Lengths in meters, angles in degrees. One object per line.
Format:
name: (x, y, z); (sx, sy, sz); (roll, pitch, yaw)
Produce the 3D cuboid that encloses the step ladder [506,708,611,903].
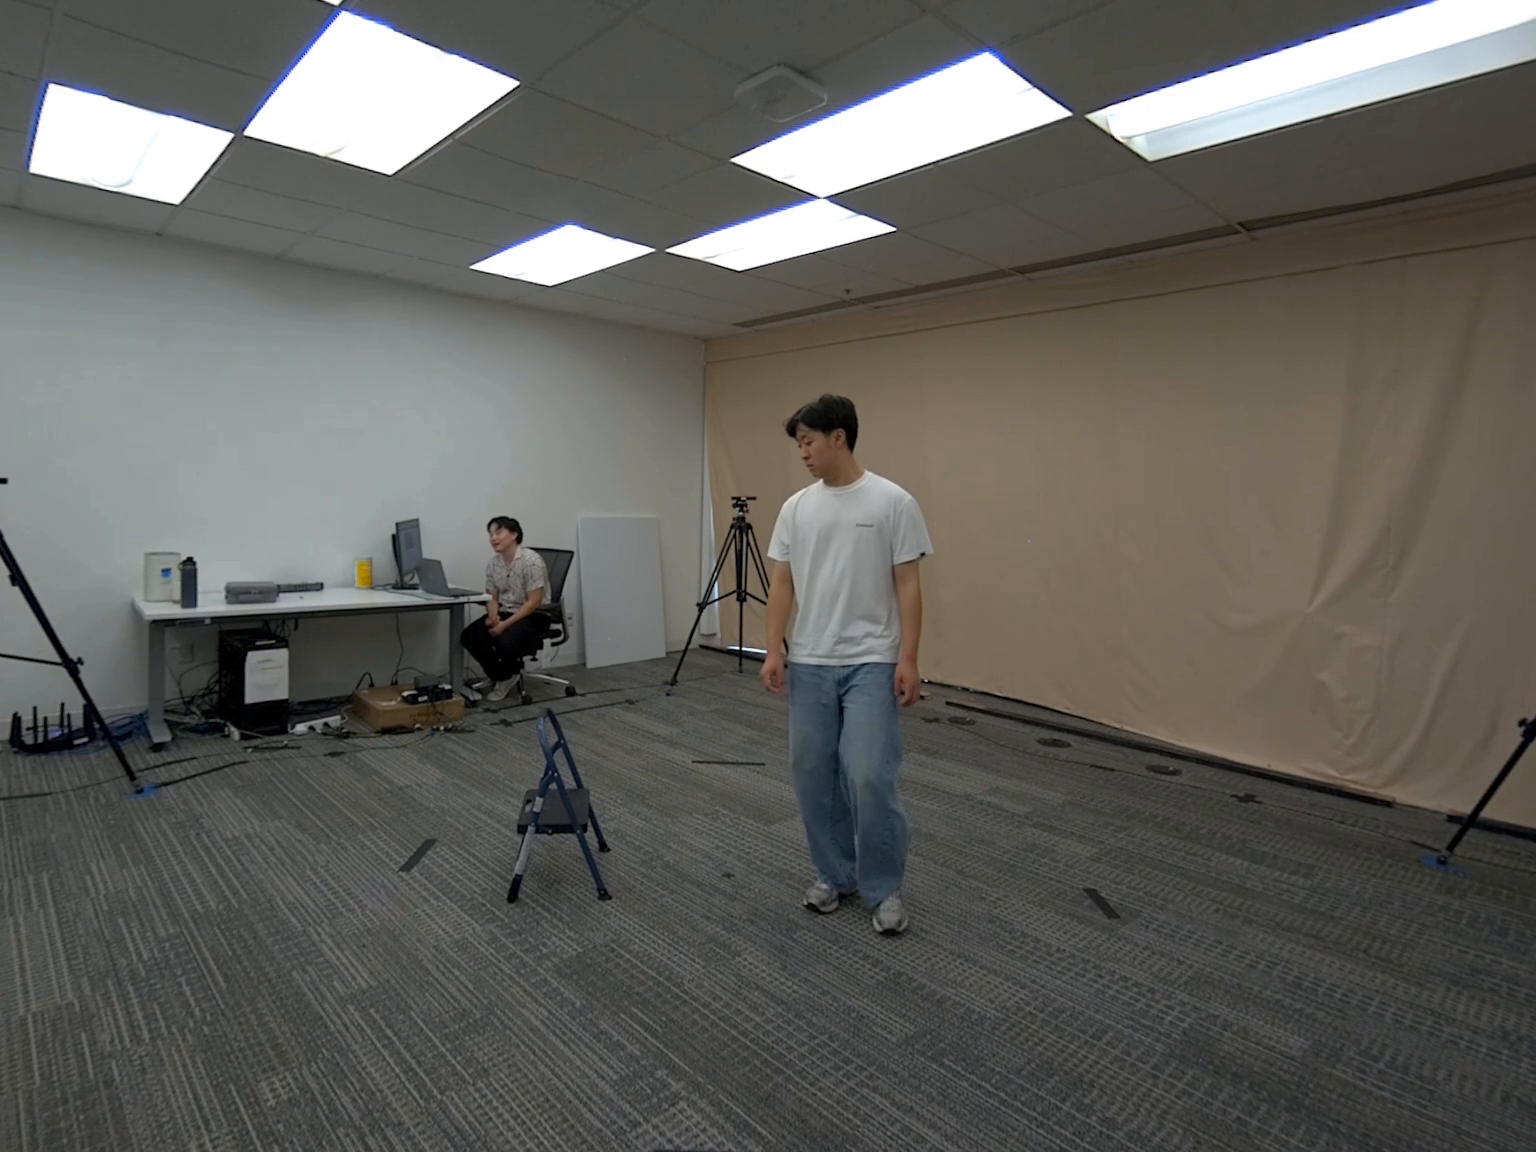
step ladder: (-0.752, 0.793, 3.071); (0.346, 0.605, 0.435); (1, 3, -11)
